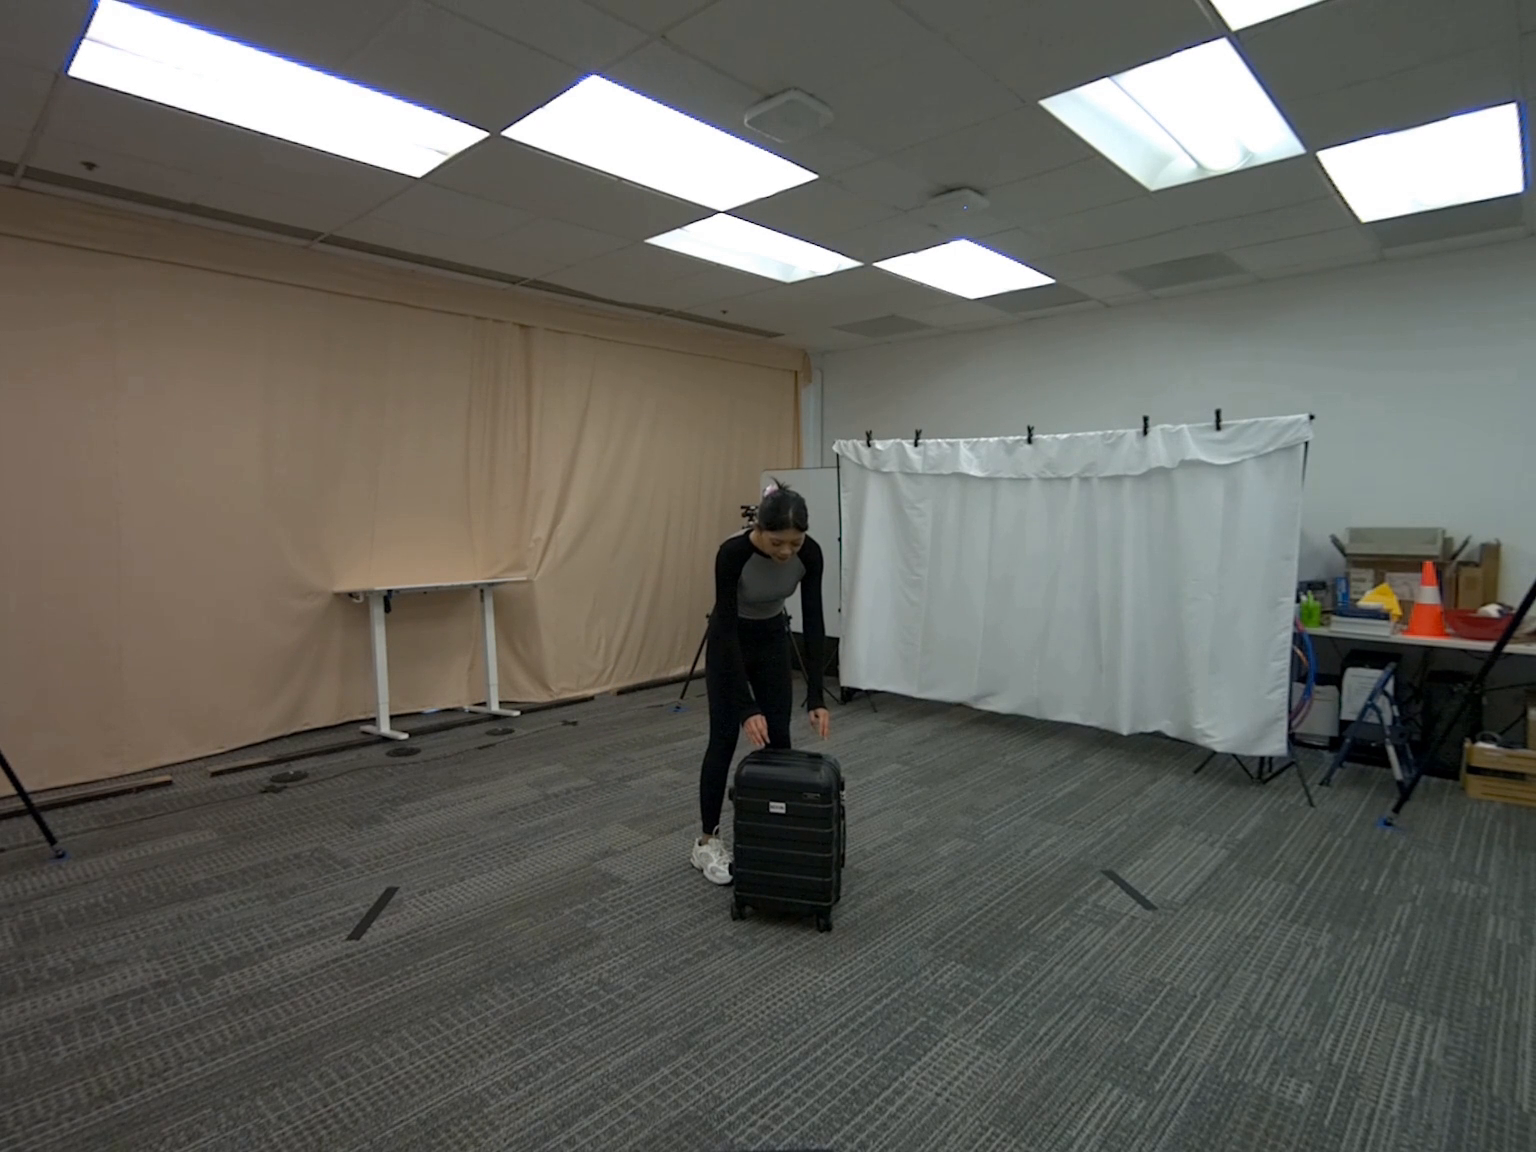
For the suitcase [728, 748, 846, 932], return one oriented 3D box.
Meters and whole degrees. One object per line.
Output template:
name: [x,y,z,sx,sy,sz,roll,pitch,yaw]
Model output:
suitcase: [0.076,0.876,2.864,0.382,0.548,0.245,1,5,16]
